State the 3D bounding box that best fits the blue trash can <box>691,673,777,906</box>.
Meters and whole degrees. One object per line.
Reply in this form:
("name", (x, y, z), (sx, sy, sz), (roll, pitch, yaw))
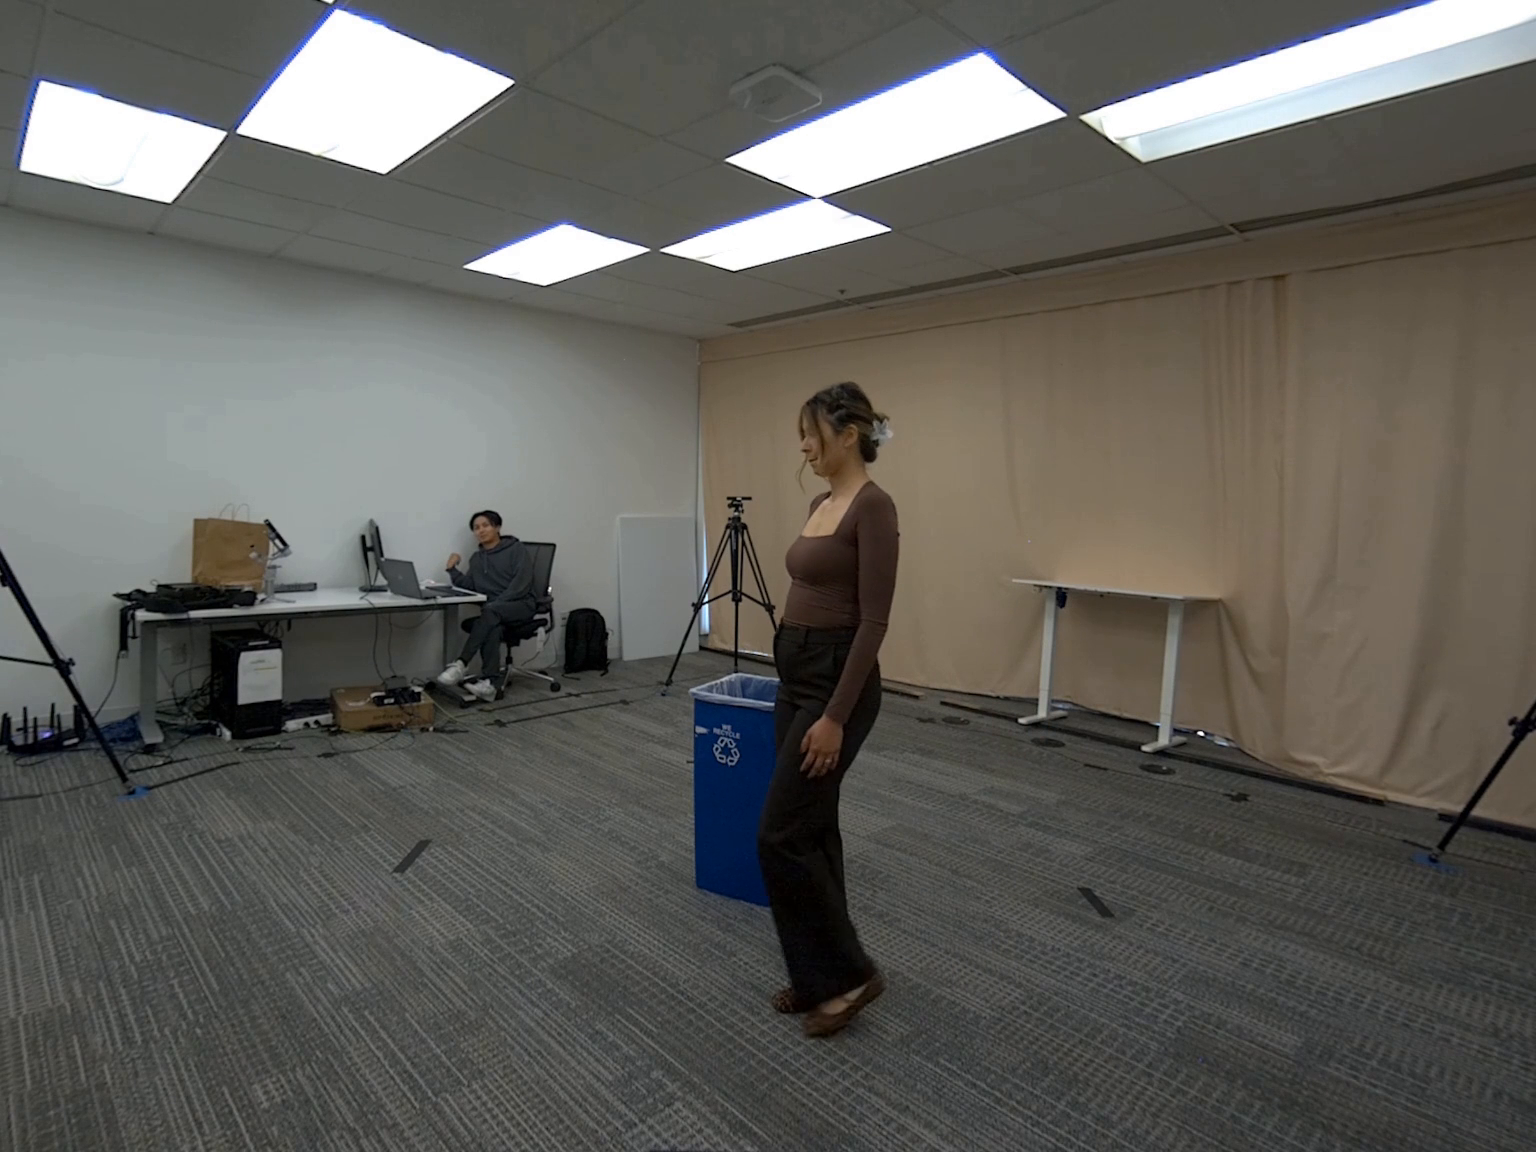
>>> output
("blue trash can", (-0.063, 0.755, 3.049), (0.386, 0.711, 0.367), (4, 5, 28))
